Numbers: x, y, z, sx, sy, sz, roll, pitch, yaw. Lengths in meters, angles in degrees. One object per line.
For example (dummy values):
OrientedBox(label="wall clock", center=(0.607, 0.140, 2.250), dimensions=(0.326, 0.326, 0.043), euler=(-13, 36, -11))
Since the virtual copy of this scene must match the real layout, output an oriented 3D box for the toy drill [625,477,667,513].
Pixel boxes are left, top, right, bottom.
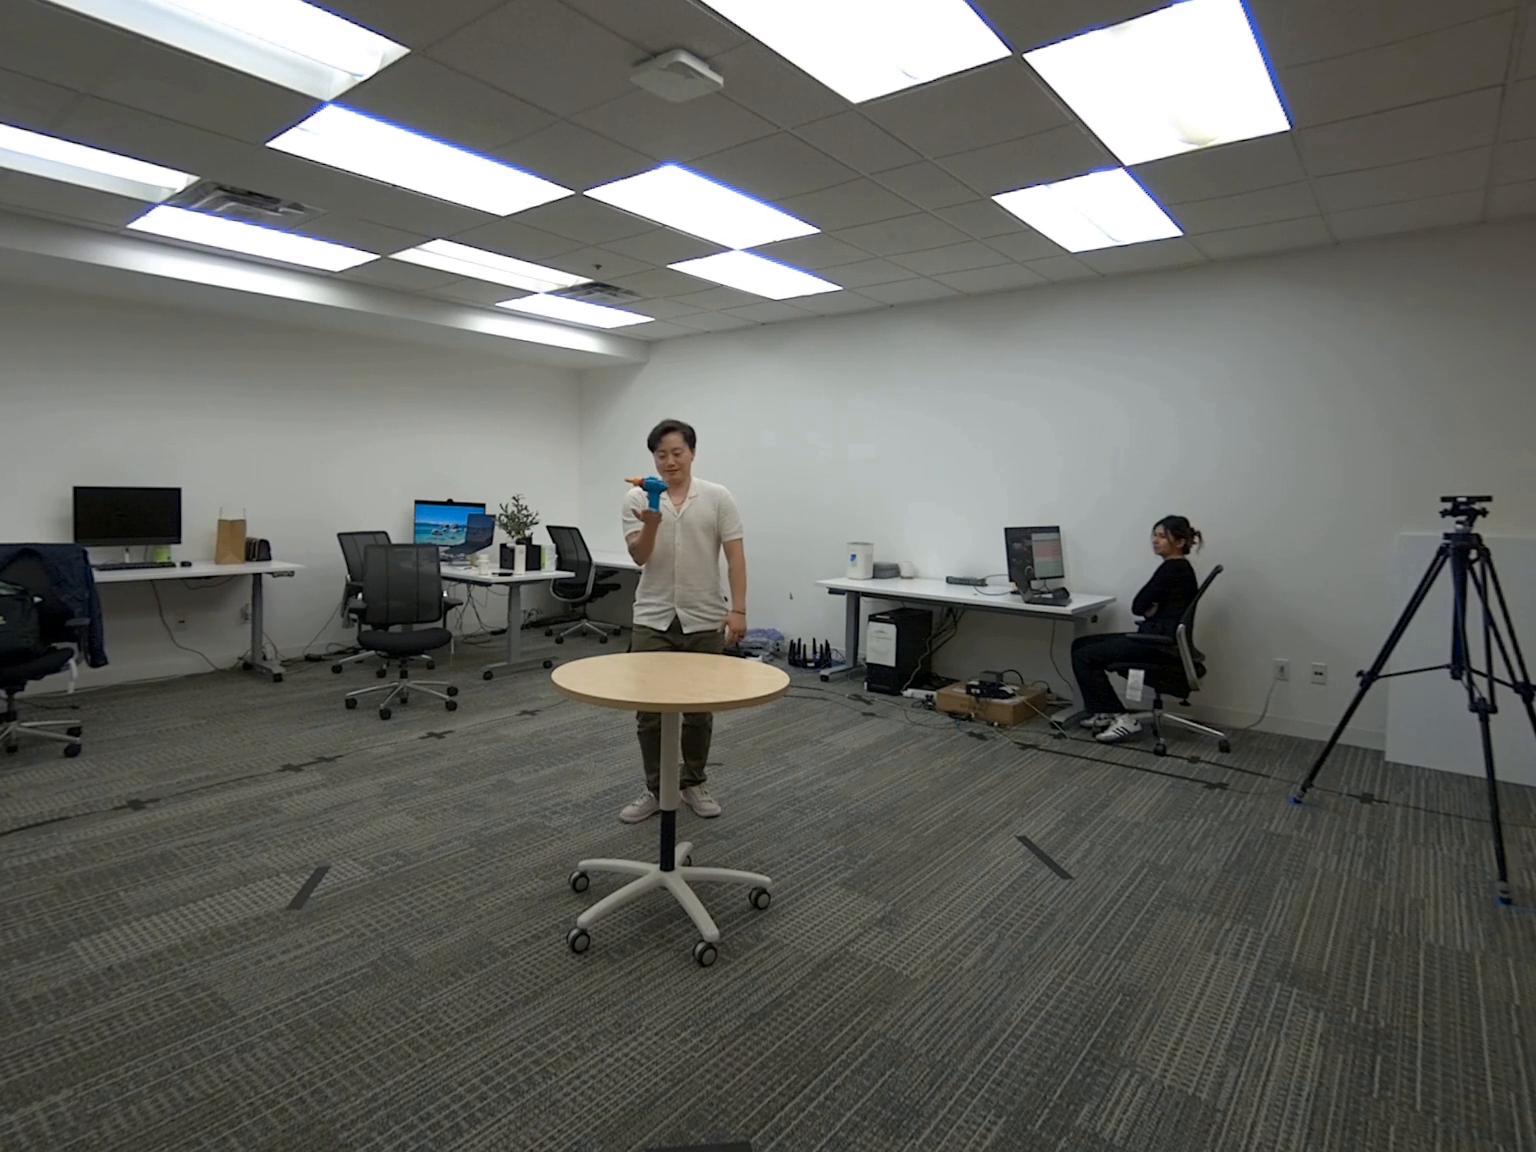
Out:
OrientedBox(label="toy drill", center=(-0.490, -0.321, 3.251), dimensions=(0.167, 0.146, 0.062), euler=(10, 0, -12))
